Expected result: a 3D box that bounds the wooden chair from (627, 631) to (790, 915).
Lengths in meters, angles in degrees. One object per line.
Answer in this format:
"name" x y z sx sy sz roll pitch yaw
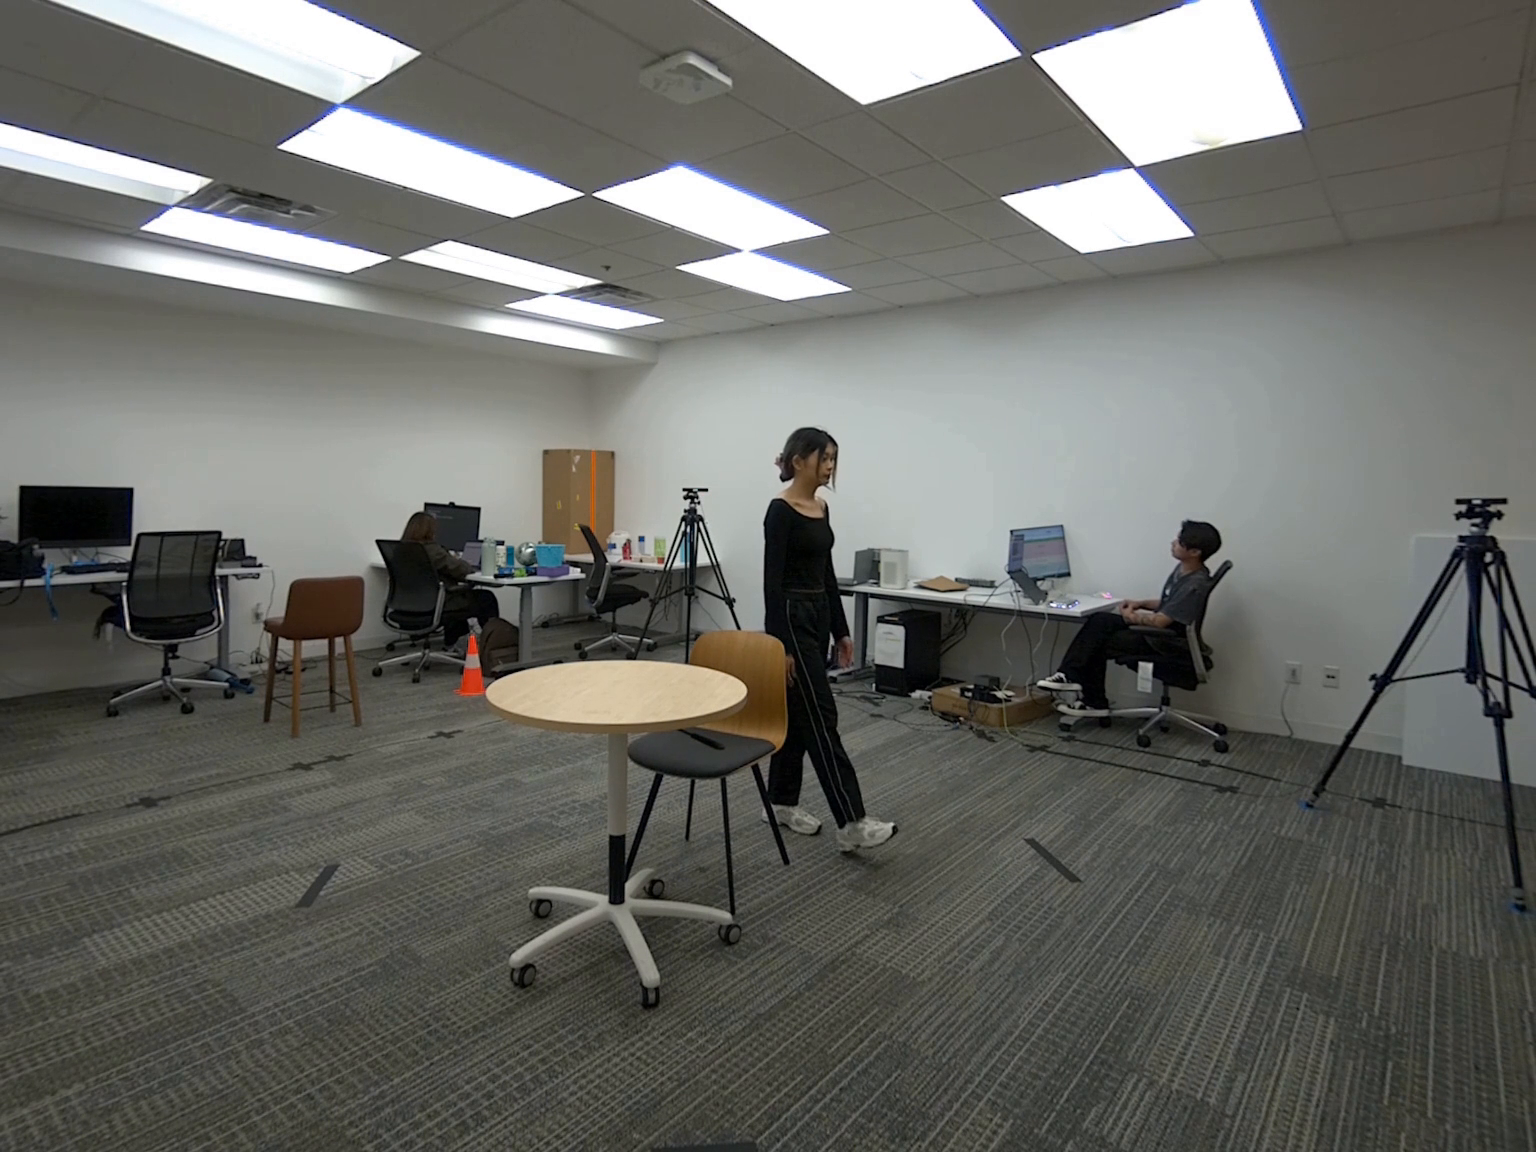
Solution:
"wooden chair" -0.222 0.648 3.042 0.491 0.878 0.508 3 -1 27
